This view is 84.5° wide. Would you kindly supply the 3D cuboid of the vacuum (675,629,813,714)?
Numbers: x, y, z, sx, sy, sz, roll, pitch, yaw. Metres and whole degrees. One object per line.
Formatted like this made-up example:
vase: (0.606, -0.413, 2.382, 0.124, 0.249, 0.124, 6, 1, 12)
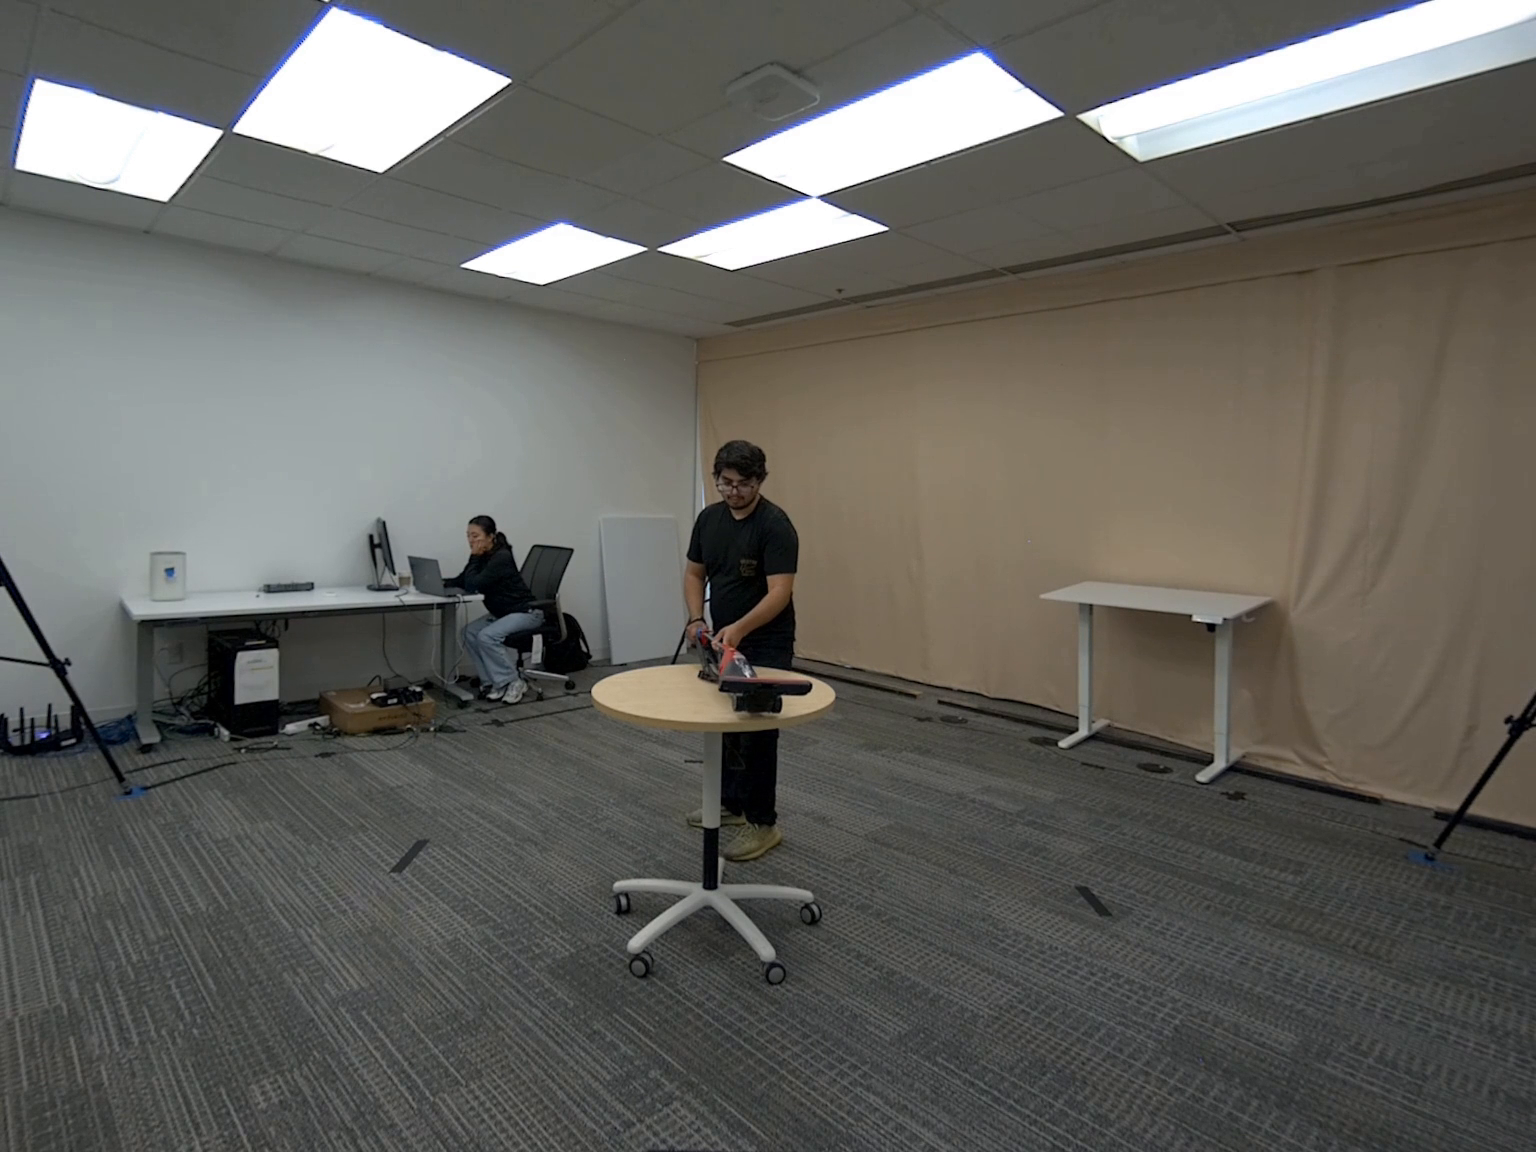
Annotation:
vacuum: (-0.162, 0.294, 2.785, 0.249, 0.144, 1.063, 5, 3, -15)
